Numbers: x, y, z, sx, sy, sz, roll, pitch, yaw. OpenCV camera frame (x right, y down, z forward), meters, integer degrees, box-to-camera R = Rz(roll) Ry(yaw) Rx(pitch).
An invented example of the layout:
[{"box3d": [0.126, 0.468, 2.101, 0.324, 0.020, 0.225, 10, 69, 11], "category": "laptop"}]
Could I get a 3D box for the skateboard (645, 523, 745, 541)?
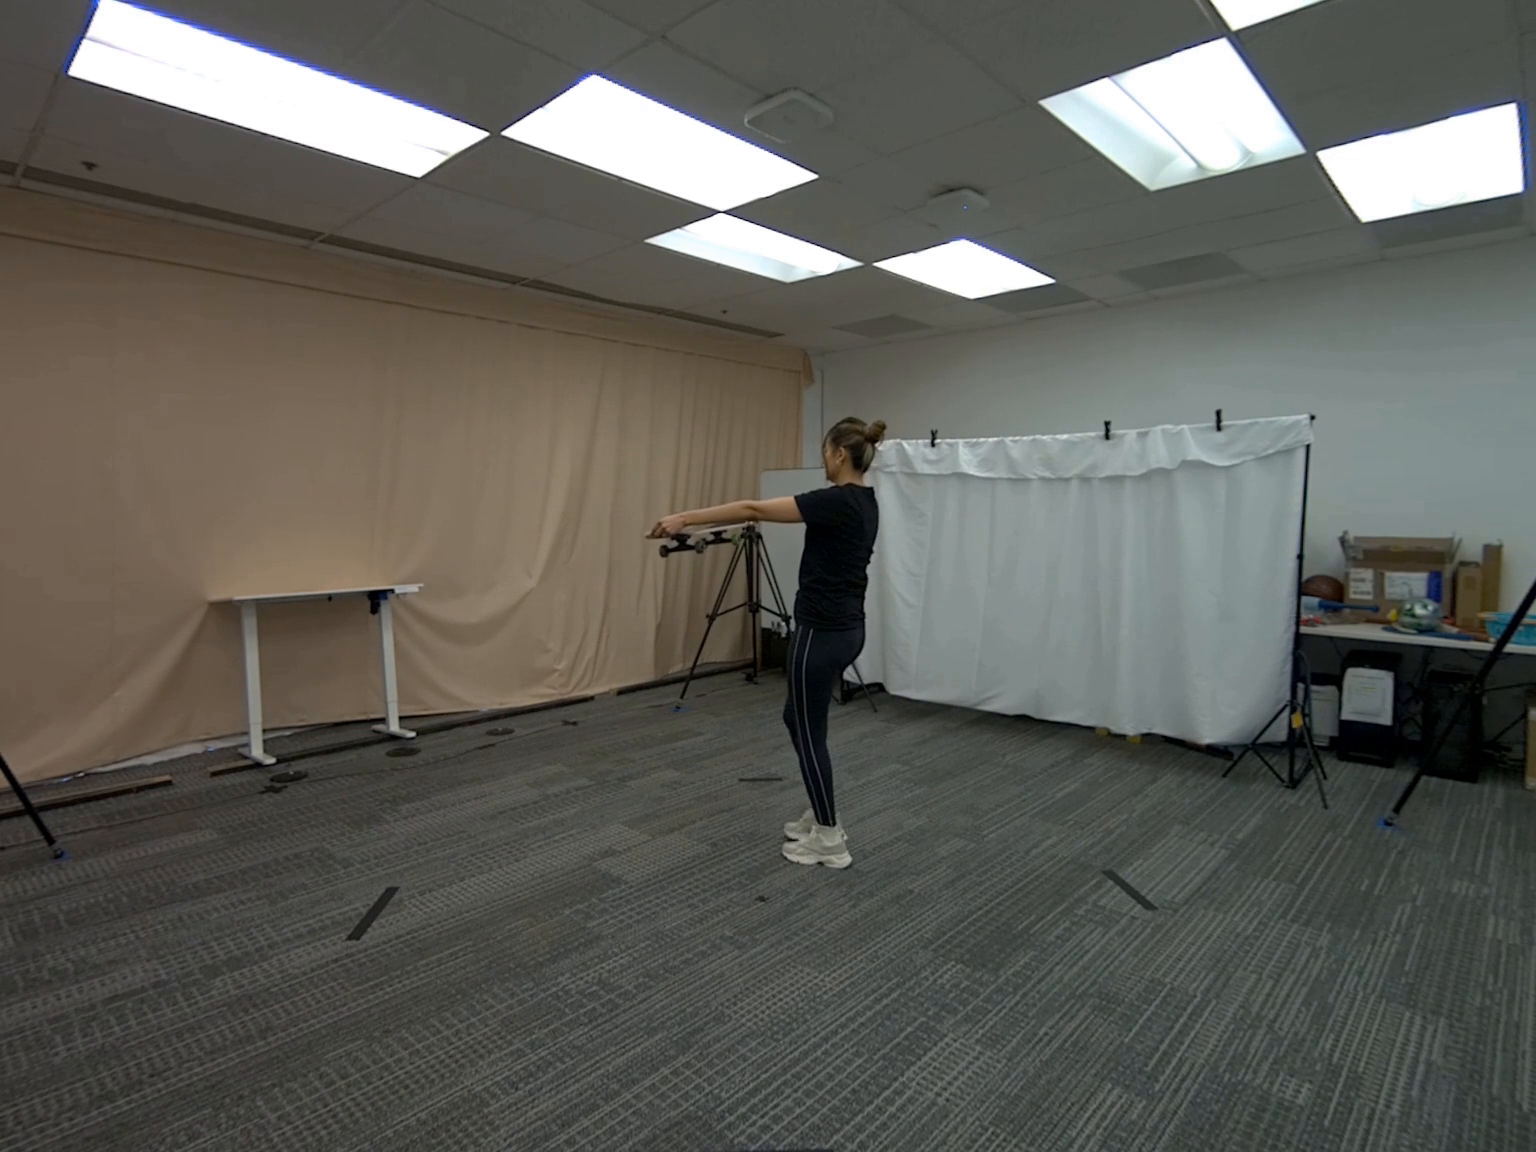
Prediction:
[{"box3d": [-0.277, -0.154, 3.459, 0.197, 0.110, 0.772, -7, 4, 19], "category": "skateboard"}]
